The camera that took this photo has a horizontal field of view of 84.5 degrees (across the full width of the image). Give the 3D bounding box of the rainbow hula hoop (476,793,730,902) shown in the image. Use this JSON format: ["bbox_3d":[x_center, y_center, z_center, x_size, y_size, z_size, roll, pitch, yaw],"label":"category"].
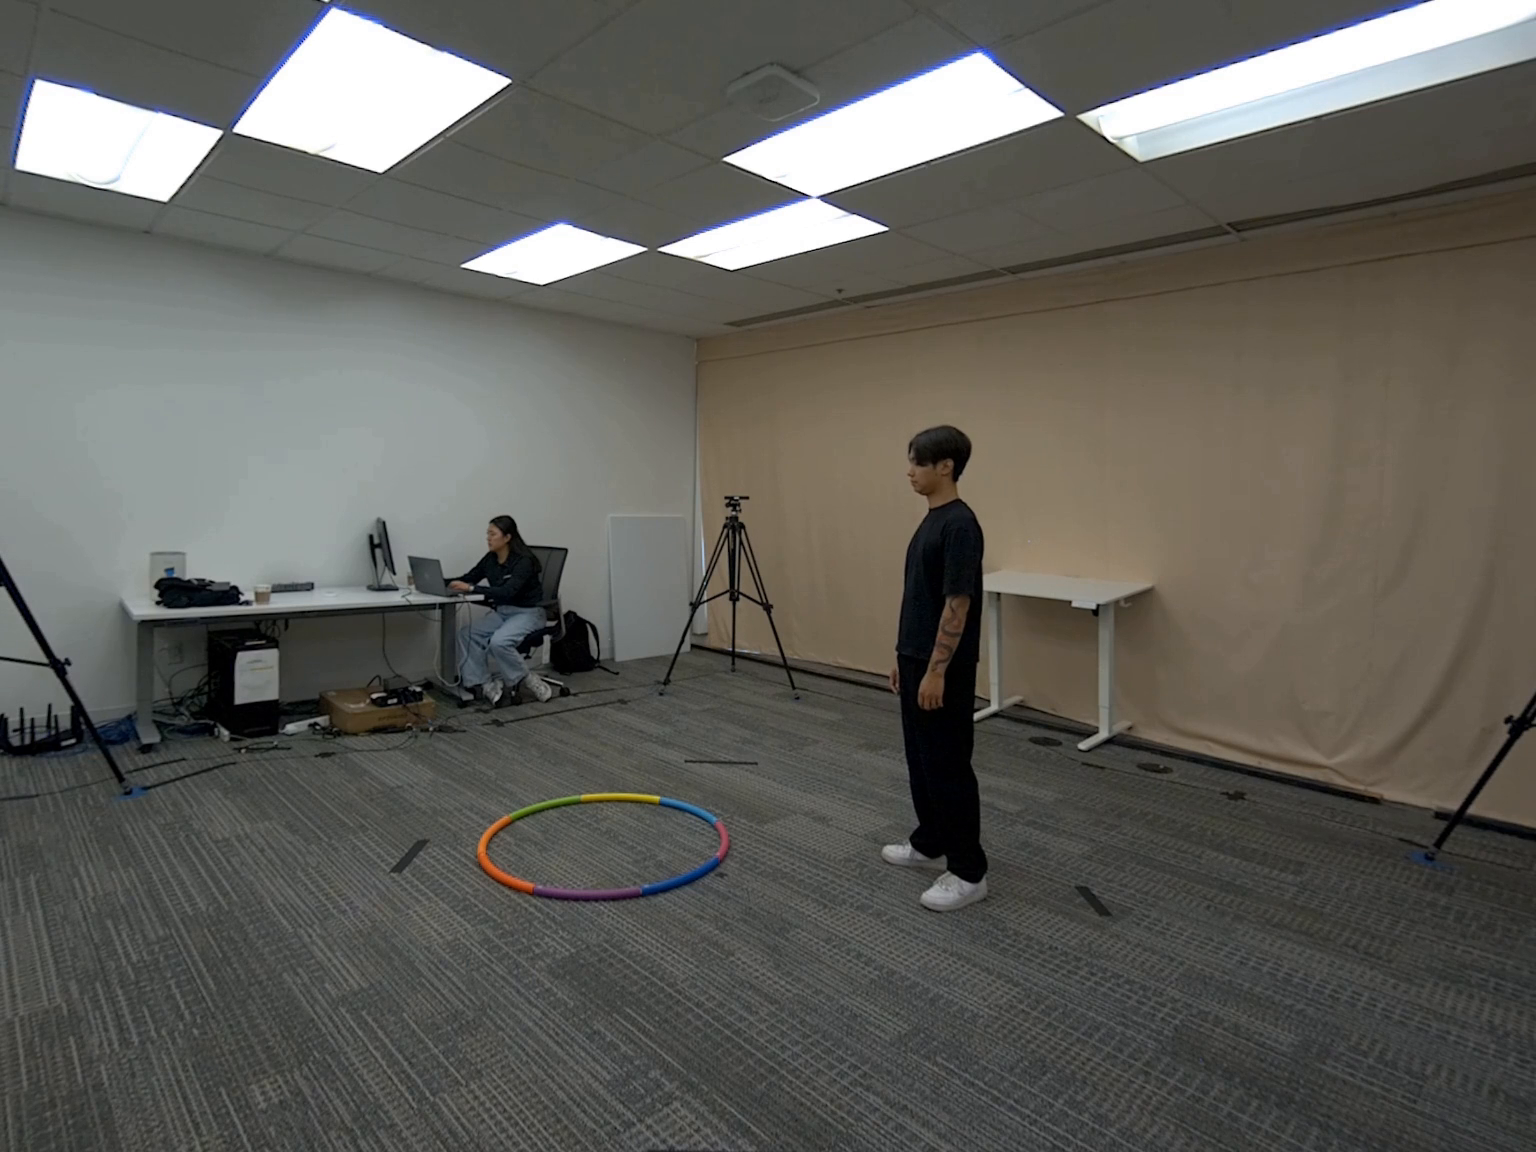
[{"bbox_3d":[-0.647,1.039,3.361,0.978,0.035,0.982,2,5,-1],"label":"rainbow hula hoop"}]
